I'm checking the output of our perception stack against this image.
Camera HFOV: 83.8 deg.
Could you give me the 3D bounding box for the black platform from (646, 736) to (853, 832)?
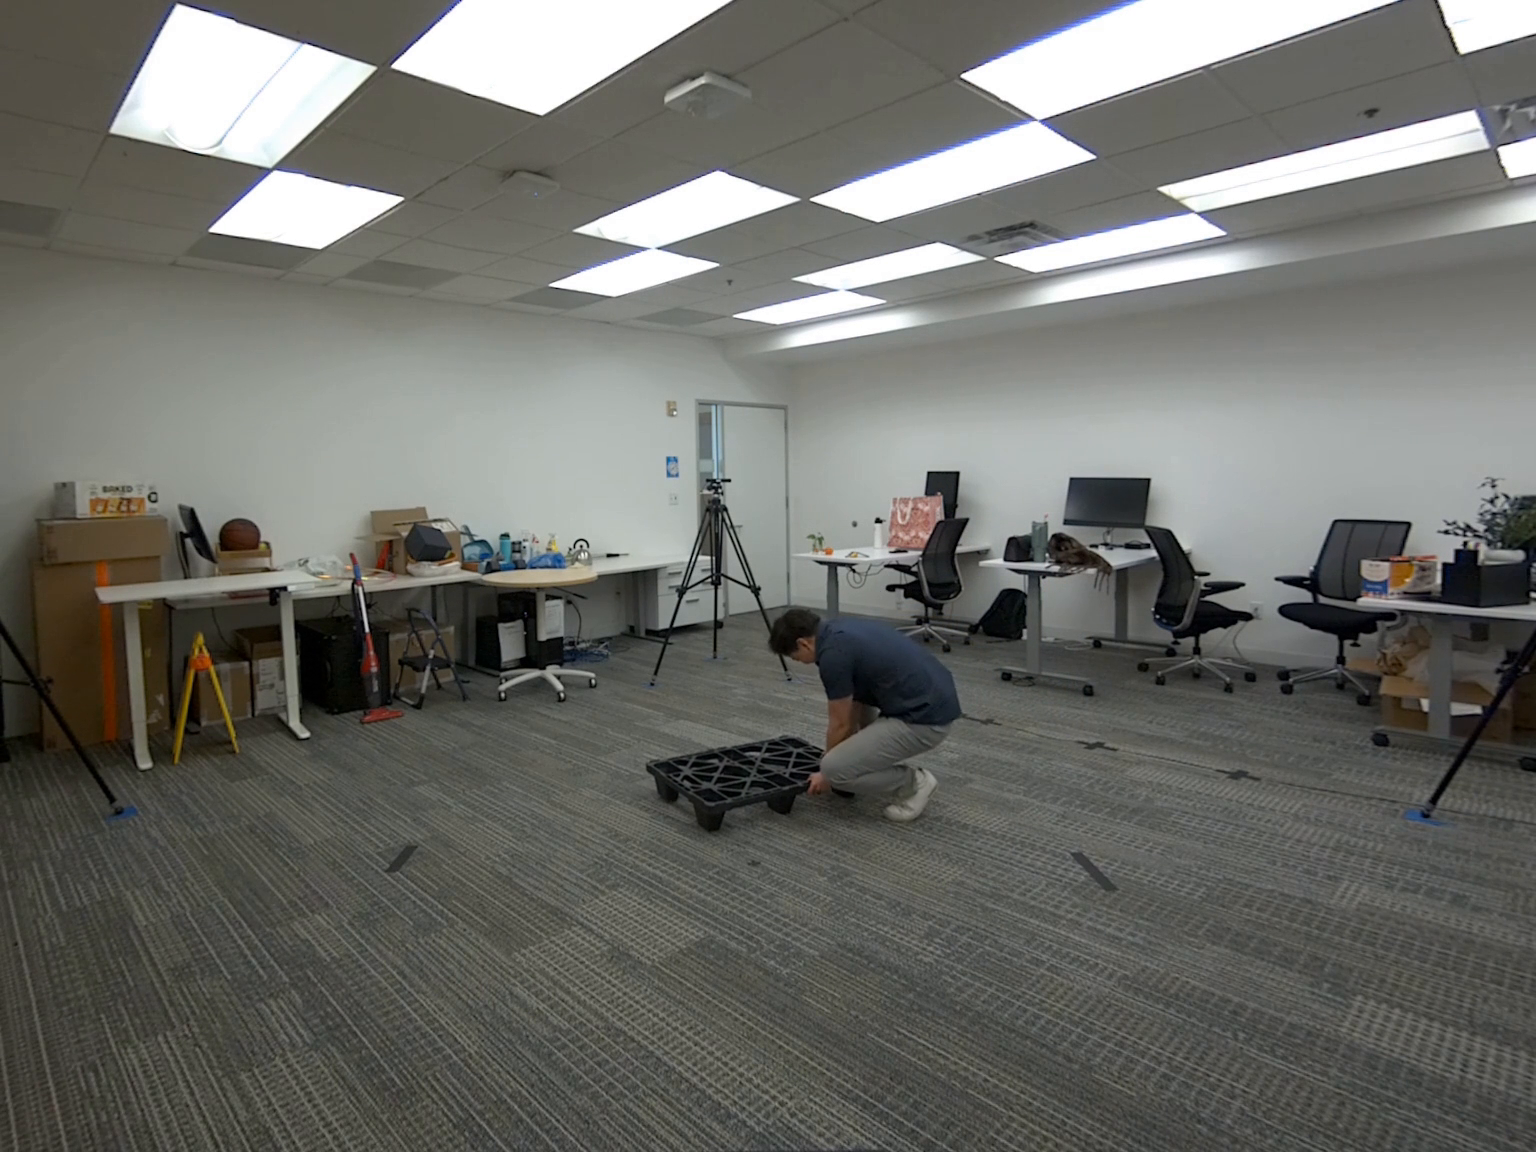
[{"bbox_3d":[-0.057,0.902,3.763,0.786,0.143,0.622,-4,7,-31],"label":"black platform"}]
